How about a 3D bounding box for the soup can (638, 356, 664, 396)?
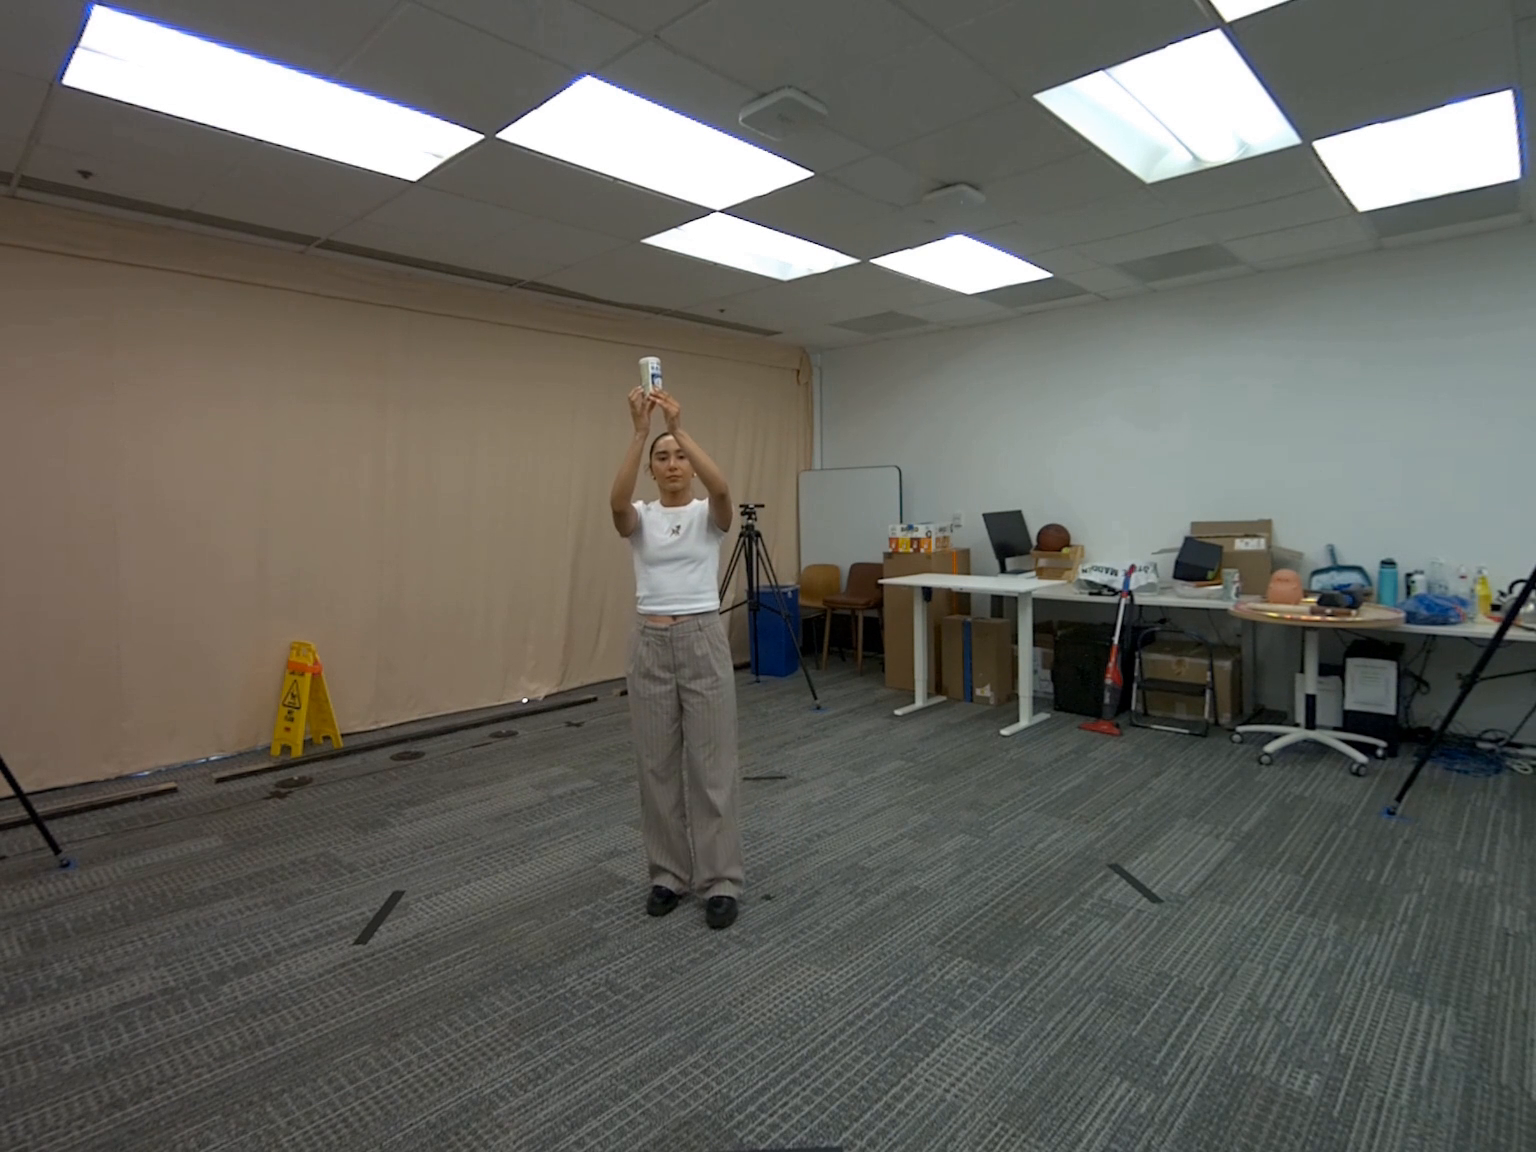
[{"bbox_3d":[-0.348,-0.609,2.593,0.067,0.122,0.067,-1,-3,-2],"label":"soup can"}]
